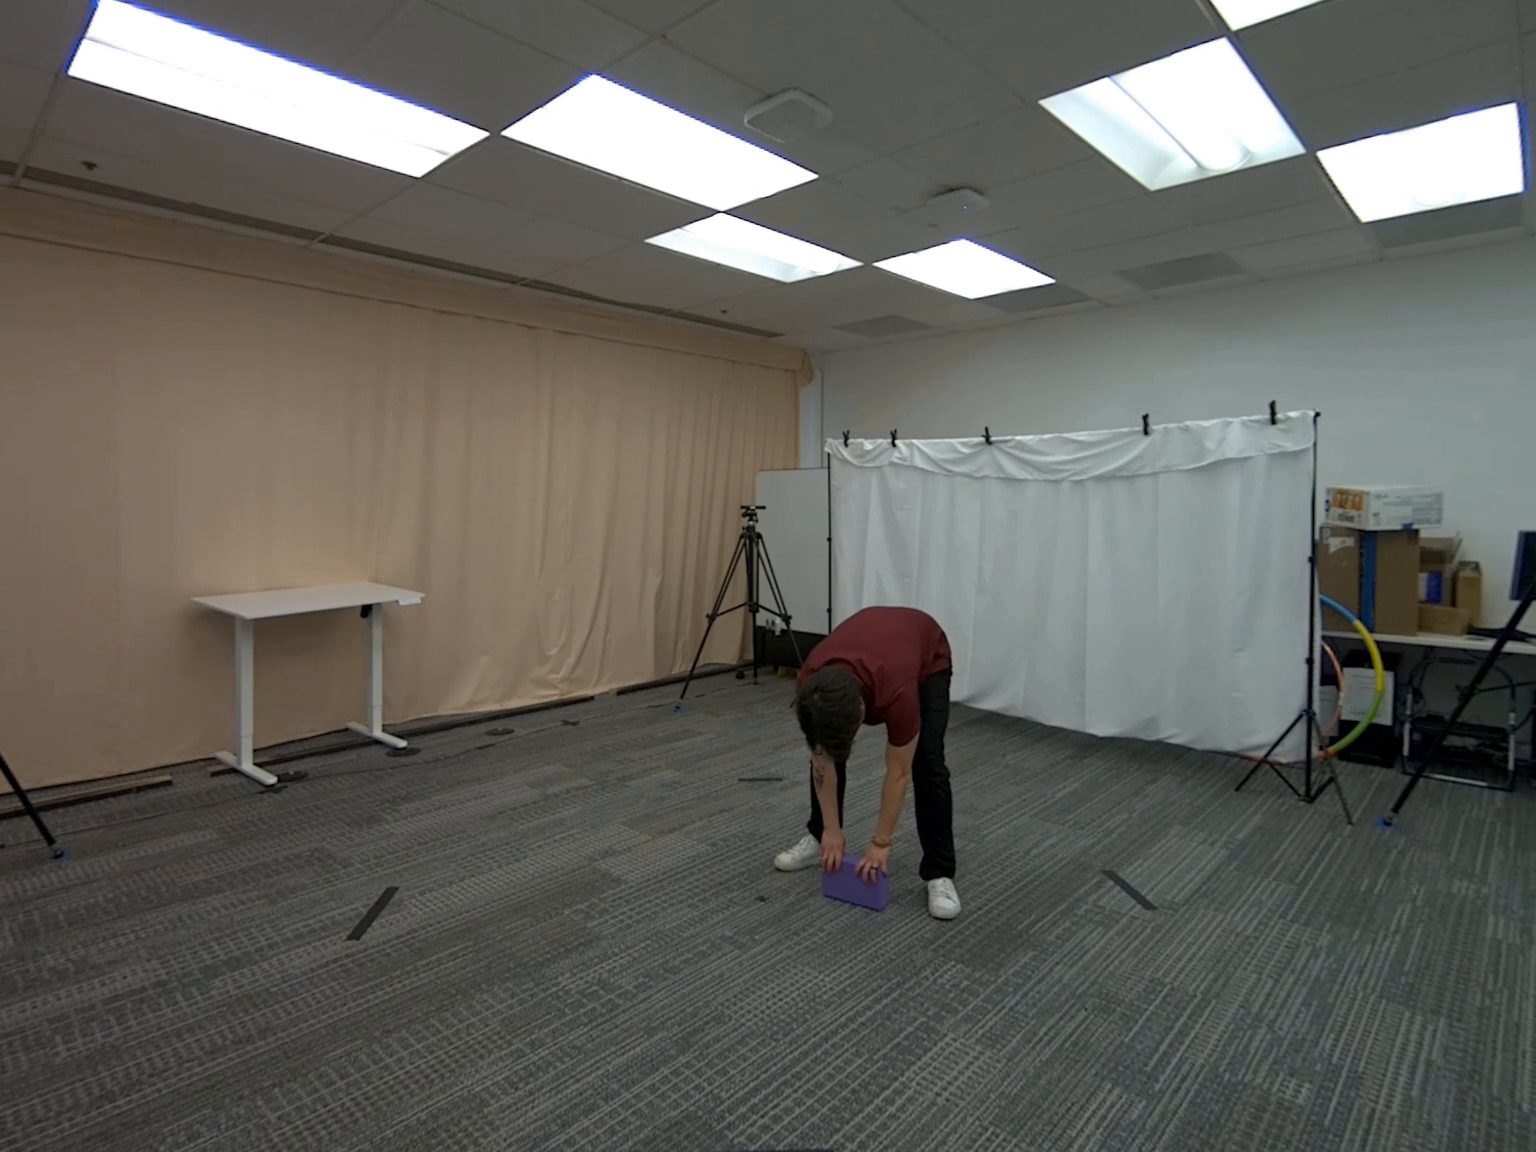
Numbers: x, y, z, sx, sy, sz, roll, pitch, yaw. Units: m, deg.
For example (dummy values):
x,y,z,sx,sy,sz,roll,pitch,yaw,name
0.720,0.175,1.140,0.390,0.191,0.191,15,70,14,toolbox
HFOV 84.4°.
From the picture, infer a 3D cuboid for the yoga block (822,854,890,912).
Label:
x,y,z,sx,sy,sz,roll,pitch,yaw,name
0.318,1.074,2.974,0.236,0.149,0.074,3,-3,32,yoga block
